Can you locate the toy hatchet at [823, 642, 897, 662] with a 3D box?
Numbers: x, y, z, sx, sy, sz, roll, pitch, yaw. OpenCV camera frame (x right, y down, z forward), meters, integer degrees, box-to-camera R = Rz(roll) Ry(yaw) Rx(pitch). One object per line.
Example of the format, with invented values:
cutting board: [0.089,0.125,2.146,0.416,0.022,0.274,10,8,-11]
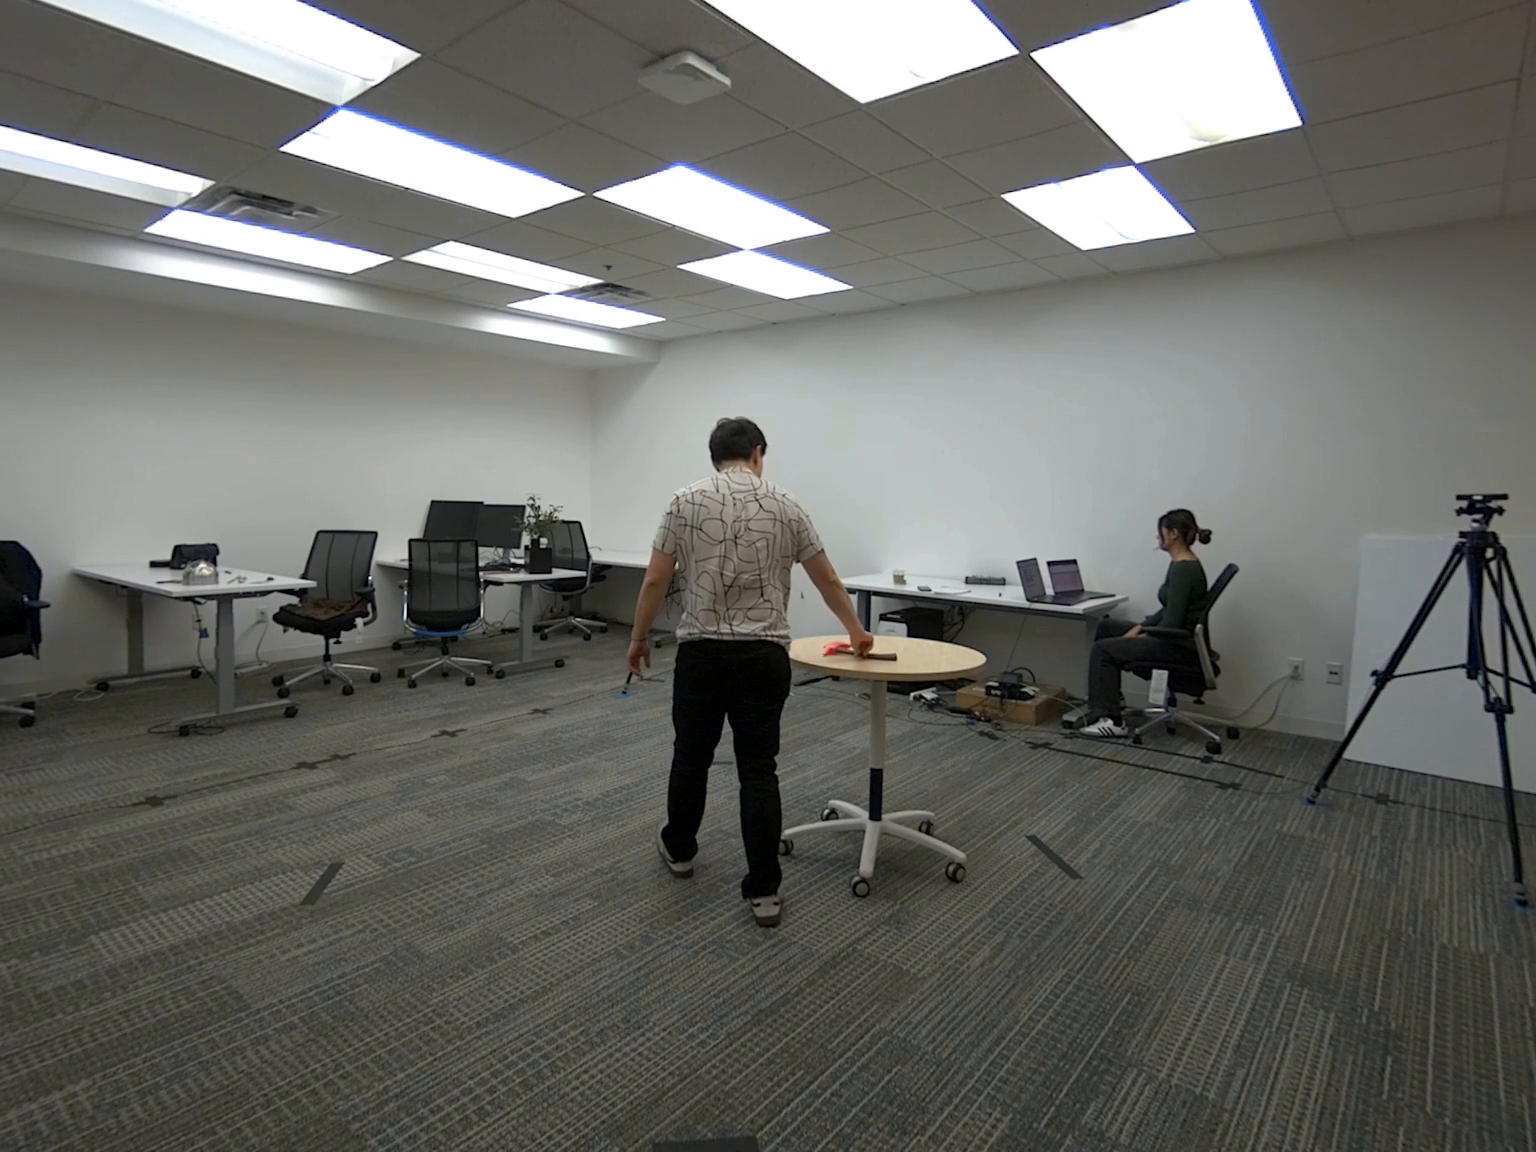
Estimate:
toy hatchet: [0.339,0.273,3.128,0.274,0.029,0.131,2,17,14]
